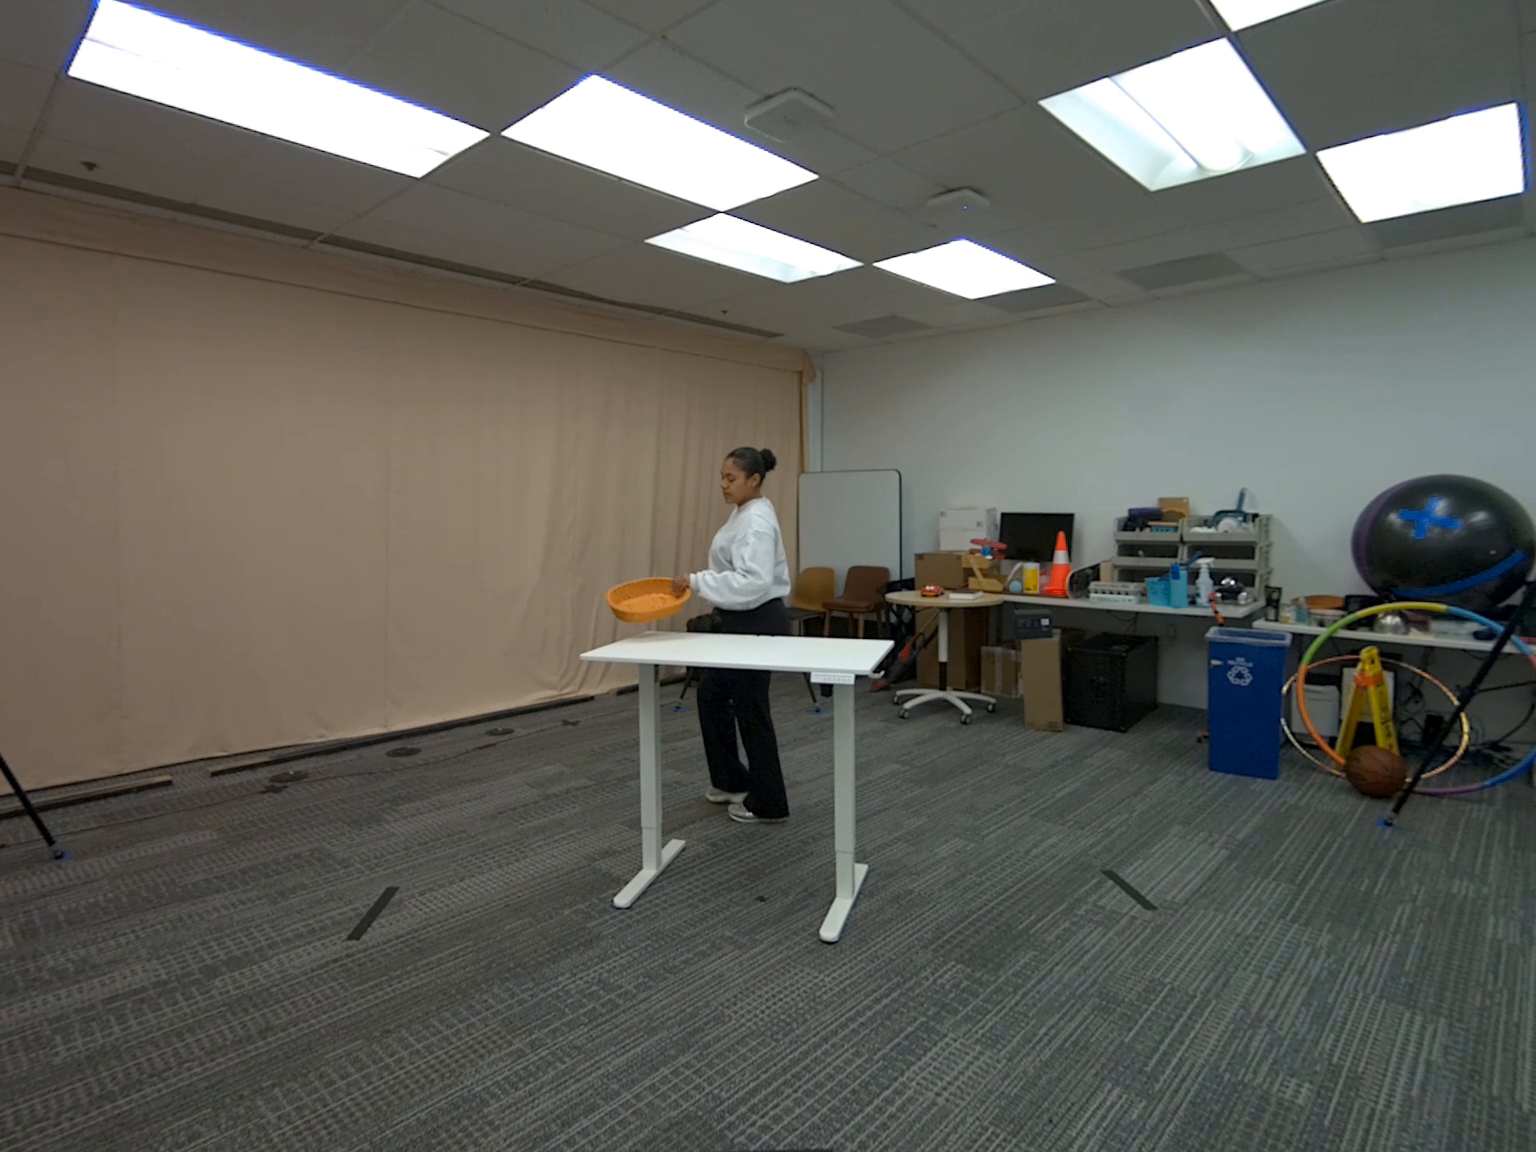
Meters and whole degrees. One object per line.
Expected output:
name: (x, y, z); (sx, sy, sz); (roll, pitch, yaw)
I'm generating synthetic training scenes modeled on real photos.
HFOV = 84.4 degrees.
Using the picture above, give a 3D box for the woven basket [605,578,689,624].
woven basket: (-0.474, 0.110, 3.322); (0.342, 0.072, 0.262); (-15, 30, -32)
